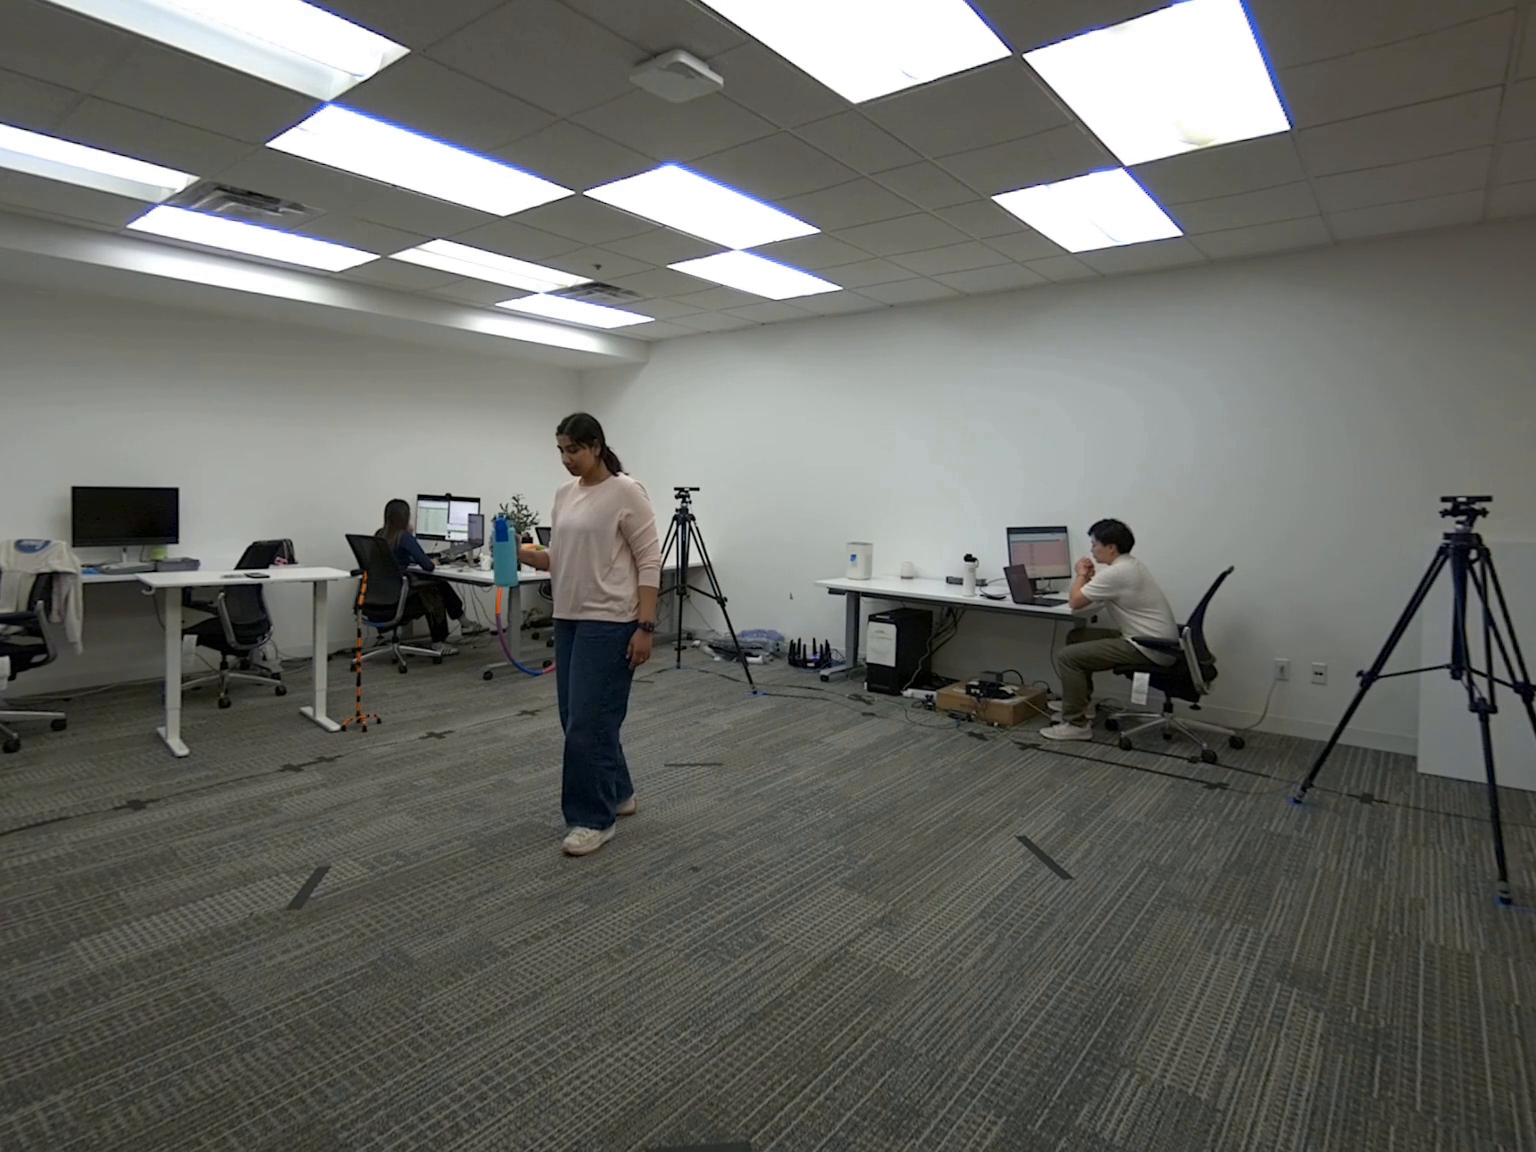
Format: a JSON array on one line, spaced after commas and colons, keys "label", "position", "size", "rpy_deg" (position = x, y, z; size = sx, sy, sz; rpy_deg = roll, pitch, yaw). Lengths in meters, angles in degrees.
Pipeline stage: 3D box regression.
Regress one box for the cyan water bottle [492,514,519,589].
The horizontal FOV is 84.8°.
[{"label": "cyan water bottle", "position": [-1.034, -0.108, 3.292], "size": [0.092, 0.280, 0.093], "rpy_deg": [-1, 11, -2]}]
